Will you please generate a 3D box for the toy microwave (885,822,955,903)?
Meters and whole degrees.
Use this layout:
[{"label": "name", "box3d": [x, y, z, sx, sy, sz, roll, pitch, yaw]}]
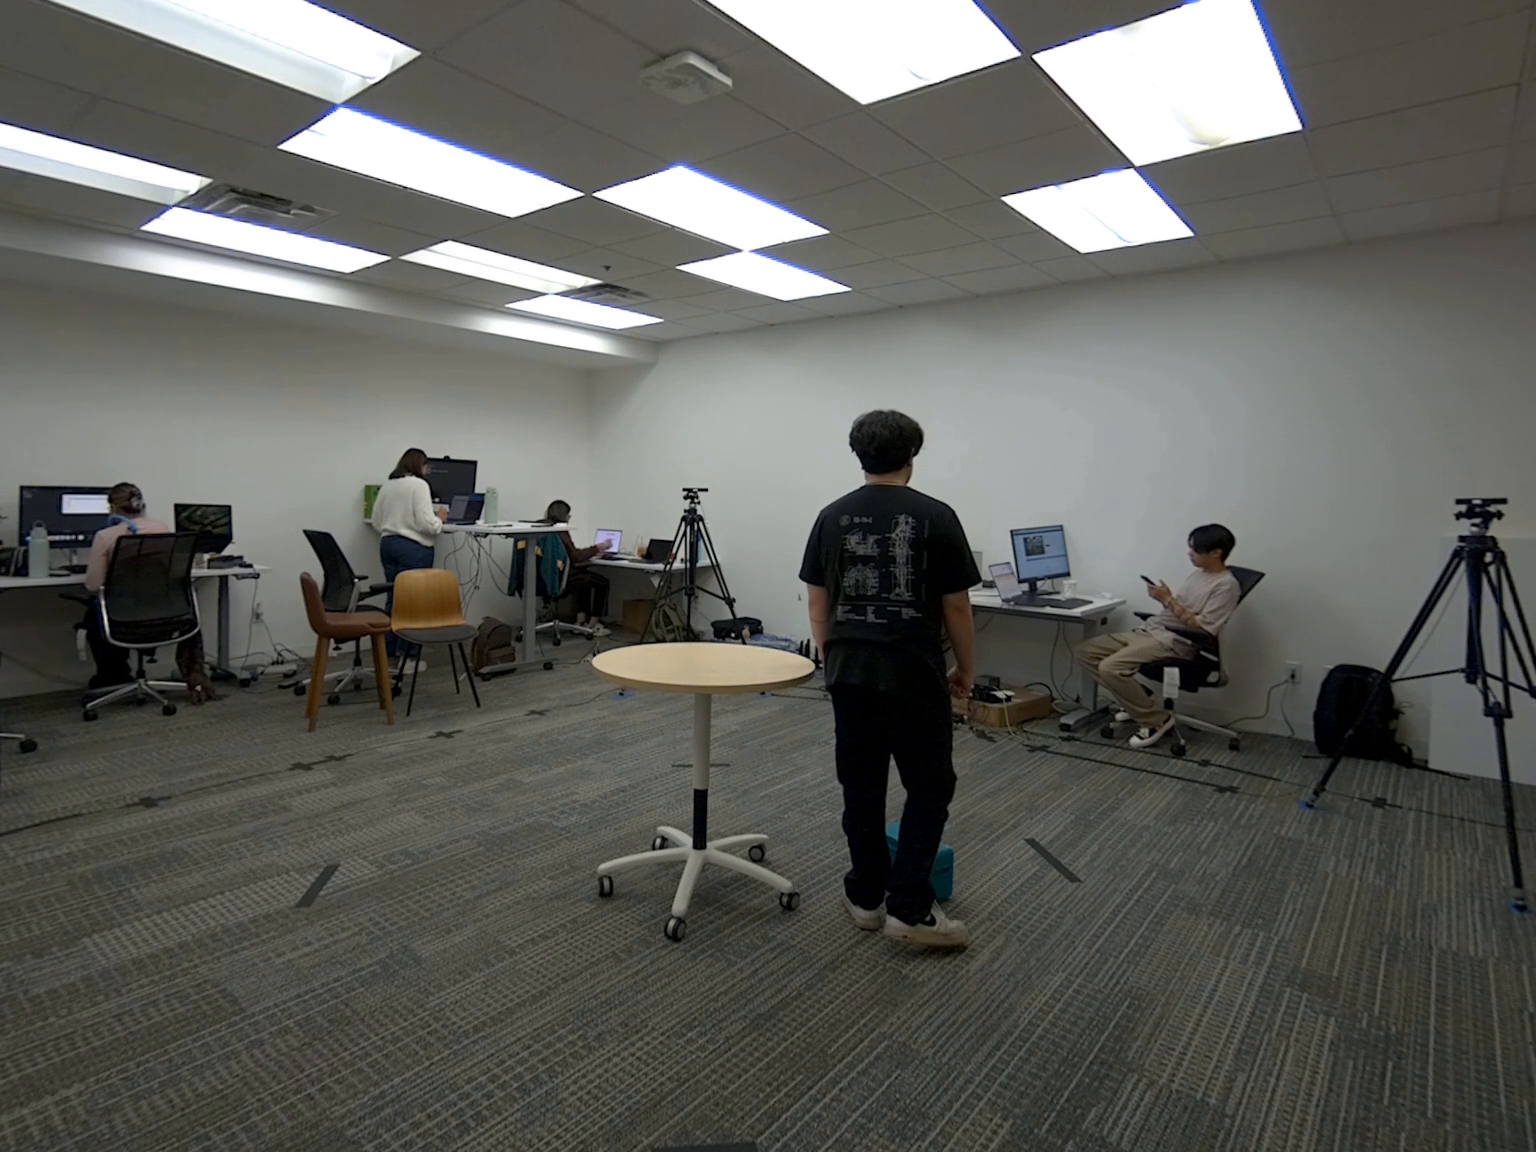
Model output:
[{"label": "toy microwave", "box3d": [0.488, 0.995, 2.995, 0.148, 0.184, 0.295, 0, 4, -33]}]
